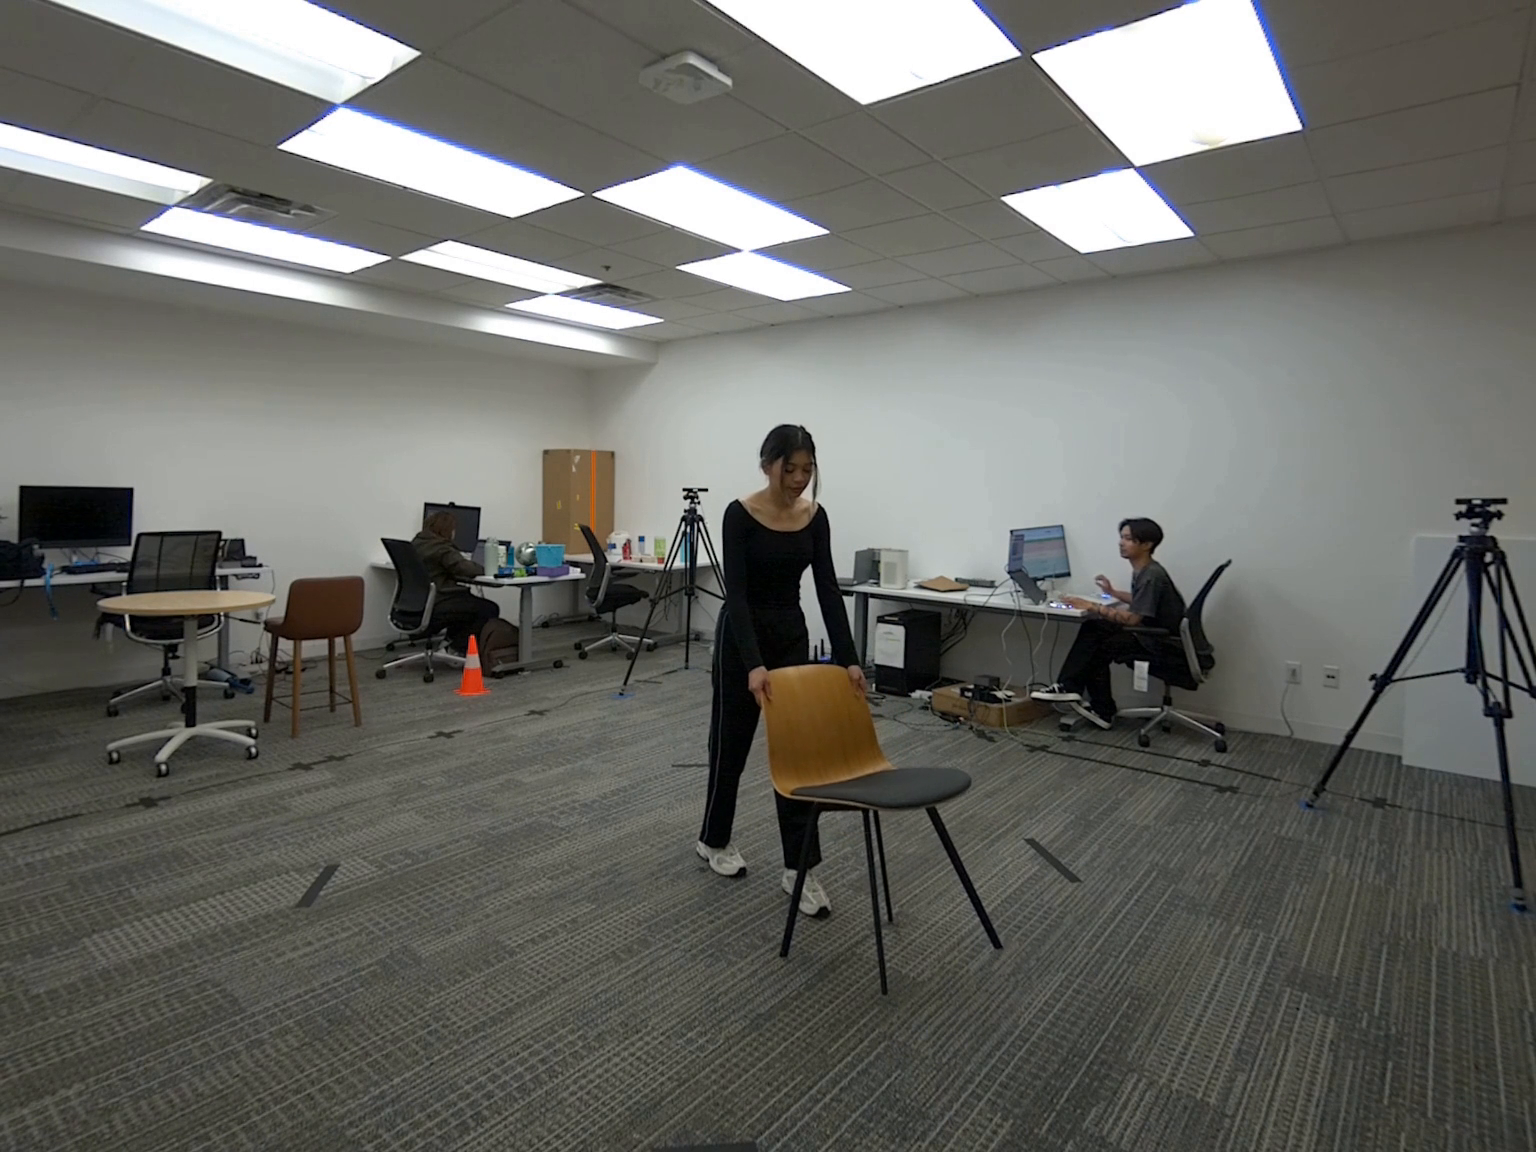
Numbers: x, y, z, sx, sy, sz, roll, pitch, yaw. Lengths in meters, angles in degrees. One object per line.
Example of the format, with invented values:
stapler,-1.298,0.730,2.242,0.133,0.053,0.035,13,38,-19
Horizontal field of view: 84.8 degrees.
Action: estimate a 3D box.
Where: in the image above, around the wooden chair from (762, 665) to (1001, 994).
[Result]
wooden chair,0.297,0.673,2.520,0.464,0.890,0.531,-1,-14,-34
